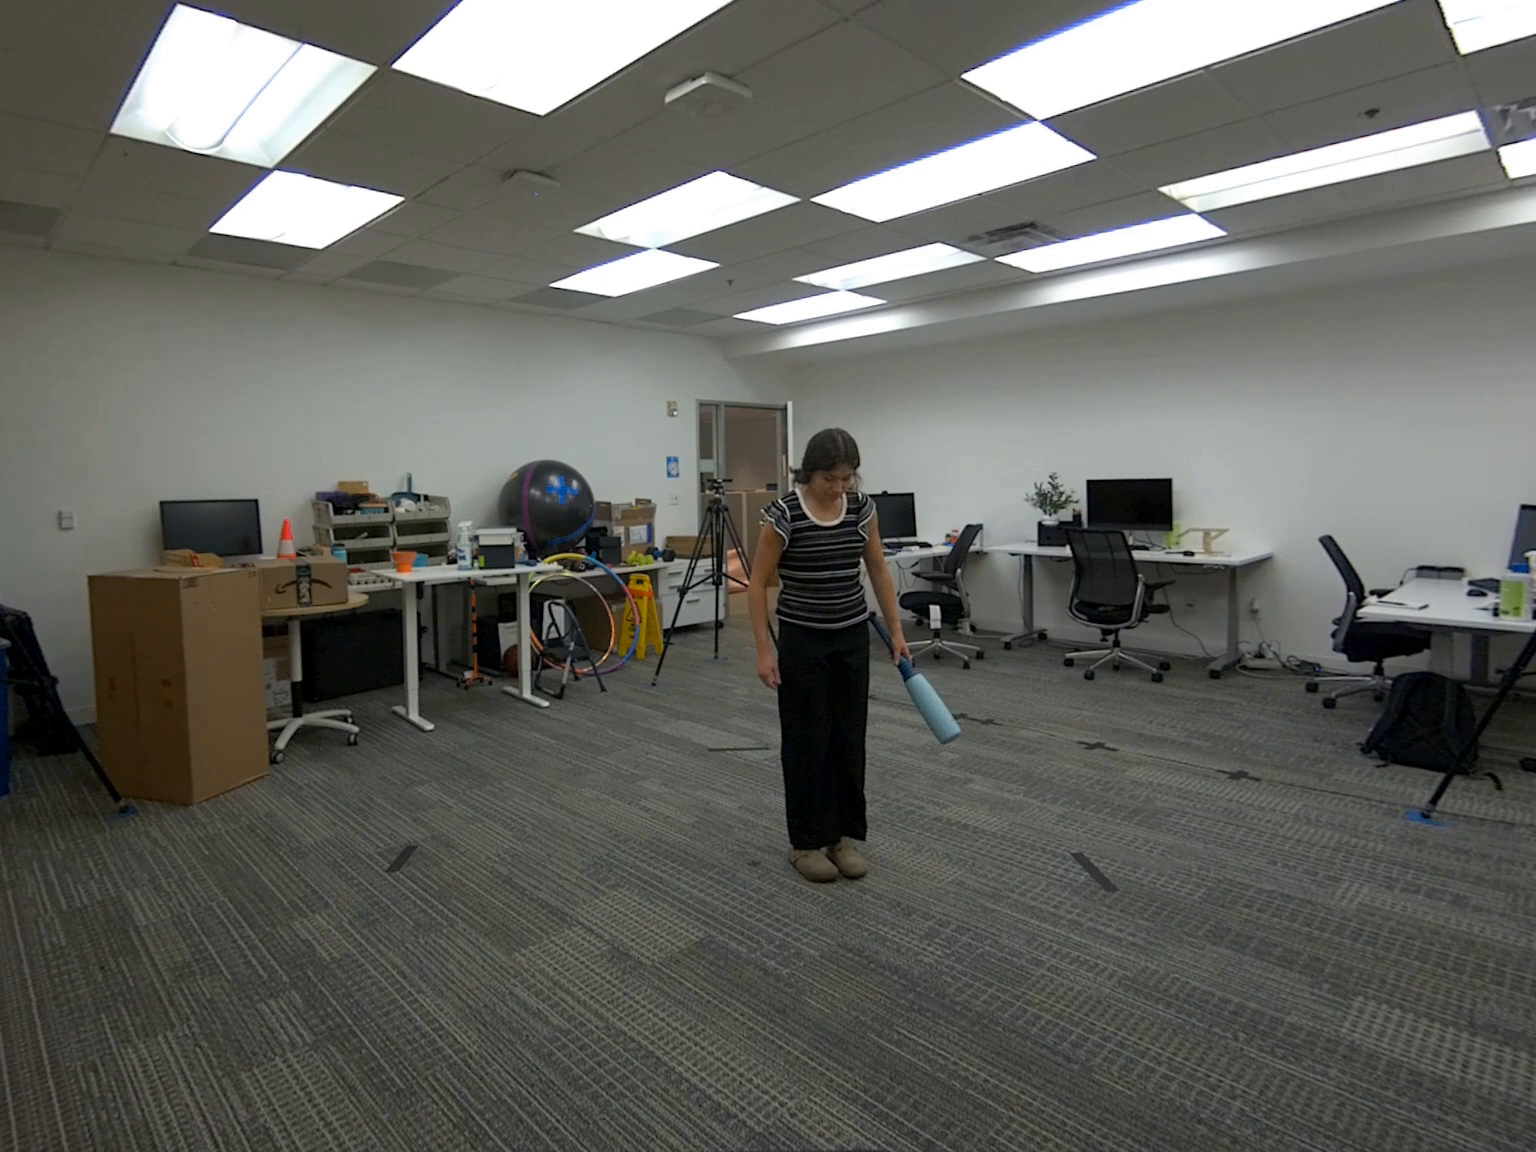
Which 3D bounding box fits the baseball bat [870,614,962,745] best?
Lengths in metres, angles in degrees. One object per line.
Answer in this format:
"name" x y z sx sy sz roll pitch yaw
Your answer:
"baseball bat" 0.491 0.351 3.079 0.088 0.560 0.087 -25 -28 -15
